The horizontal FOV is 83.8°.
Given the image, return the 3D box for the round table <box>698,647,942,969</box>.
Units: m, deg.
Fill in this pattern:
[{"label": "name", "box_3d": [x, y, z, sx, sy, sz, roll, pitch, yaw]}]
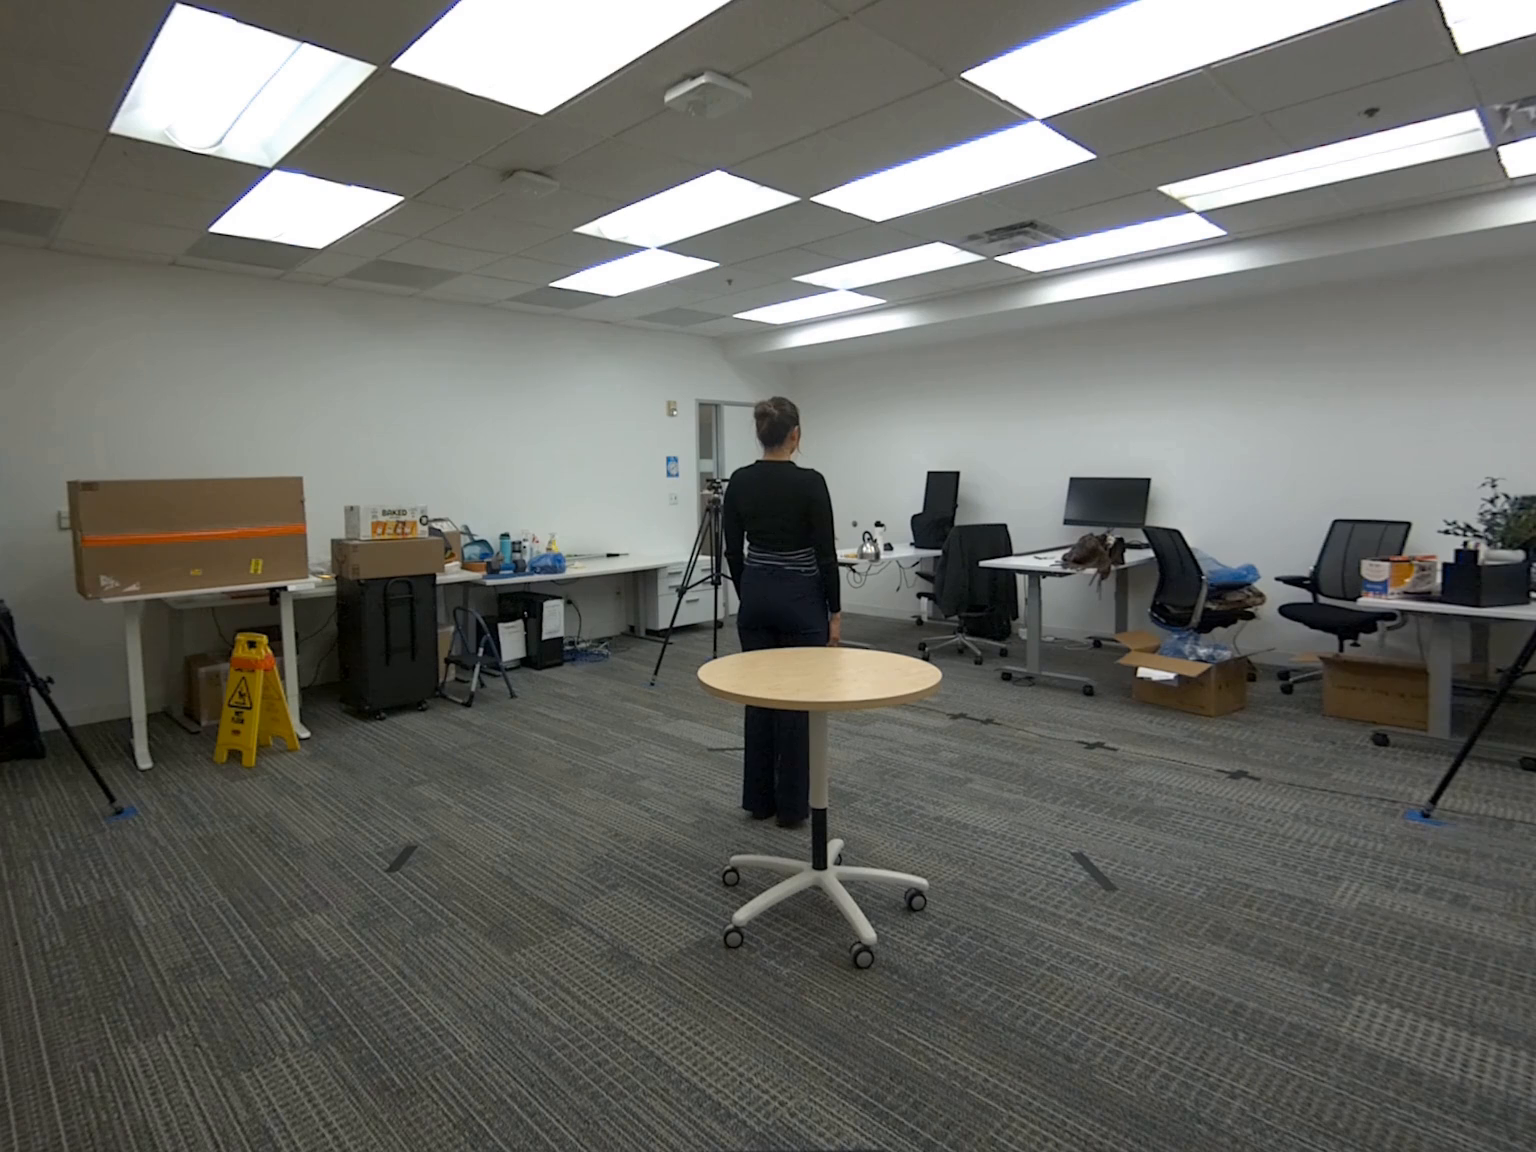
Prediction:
[{"label": "round table", "box_3d": [0.164, 0.697, 2.741, 0.763, 0.791, 0.768, -1, 5, -2]}]
